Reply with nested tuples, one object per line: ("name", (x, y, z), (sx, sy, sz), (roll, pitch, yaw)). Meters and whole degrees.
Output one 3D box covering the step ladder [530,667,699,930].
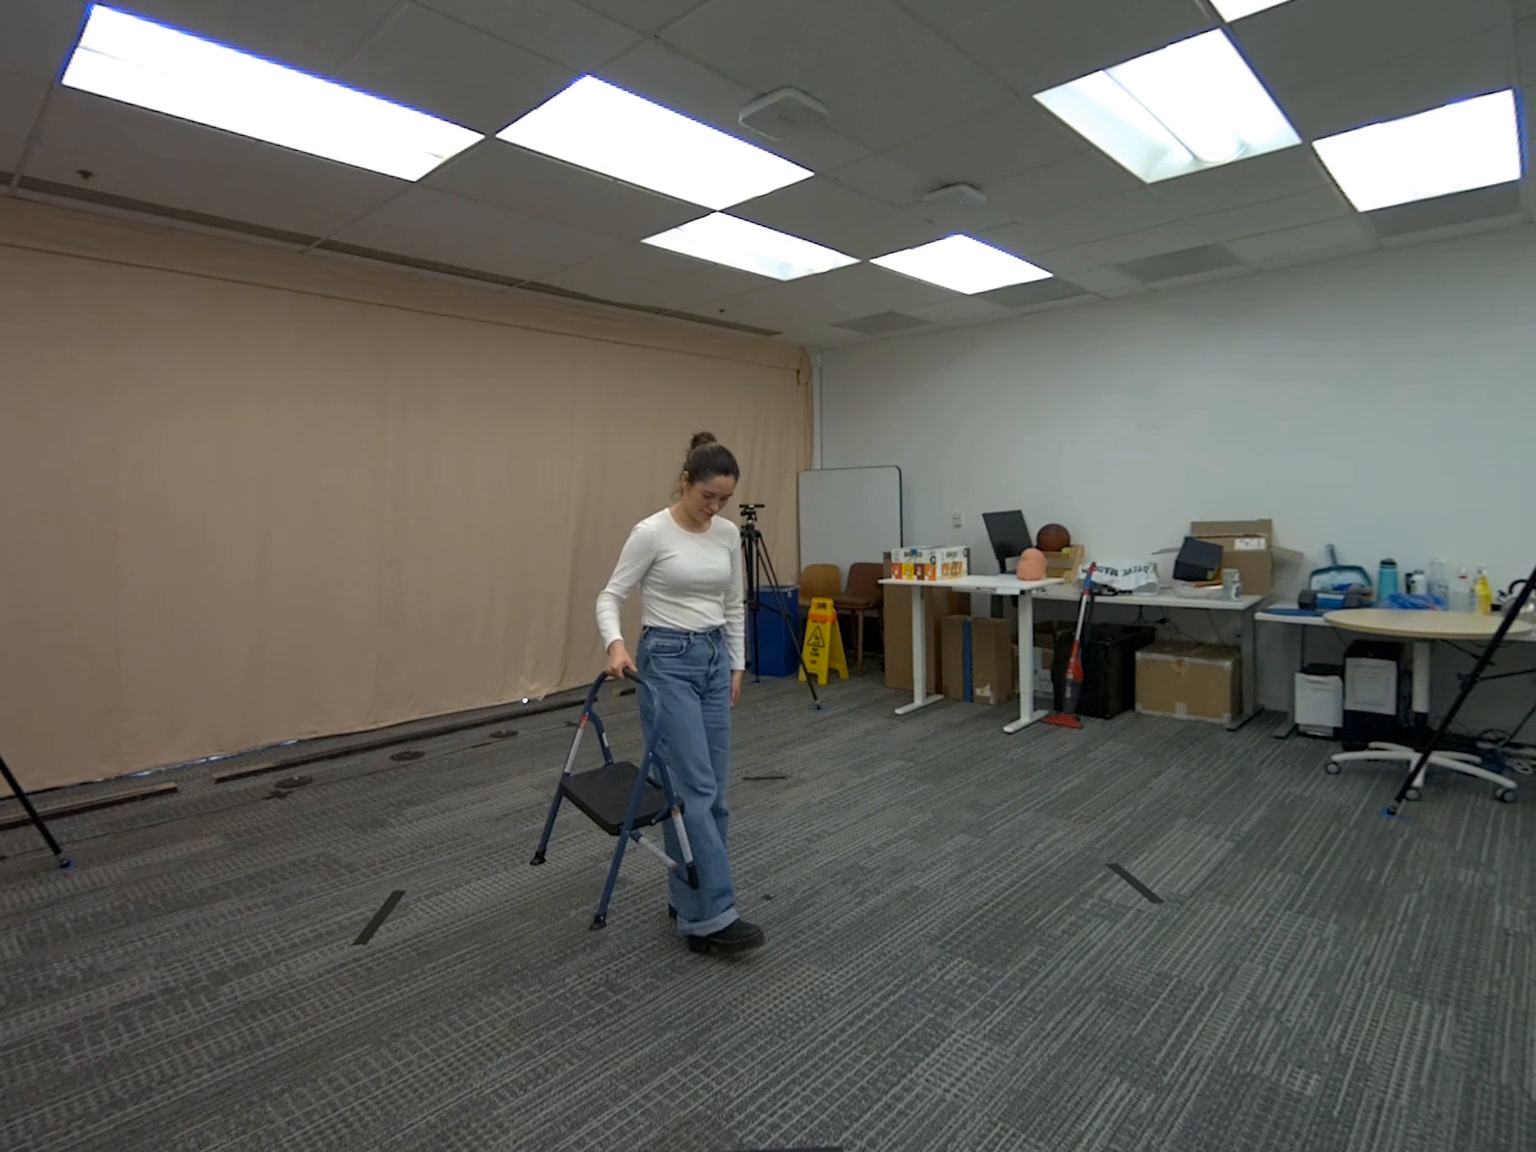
("step ladder", (-0.448, 0.595, 2.433), (0.339, 0.602, 0.445), (-6, 12, -36))
